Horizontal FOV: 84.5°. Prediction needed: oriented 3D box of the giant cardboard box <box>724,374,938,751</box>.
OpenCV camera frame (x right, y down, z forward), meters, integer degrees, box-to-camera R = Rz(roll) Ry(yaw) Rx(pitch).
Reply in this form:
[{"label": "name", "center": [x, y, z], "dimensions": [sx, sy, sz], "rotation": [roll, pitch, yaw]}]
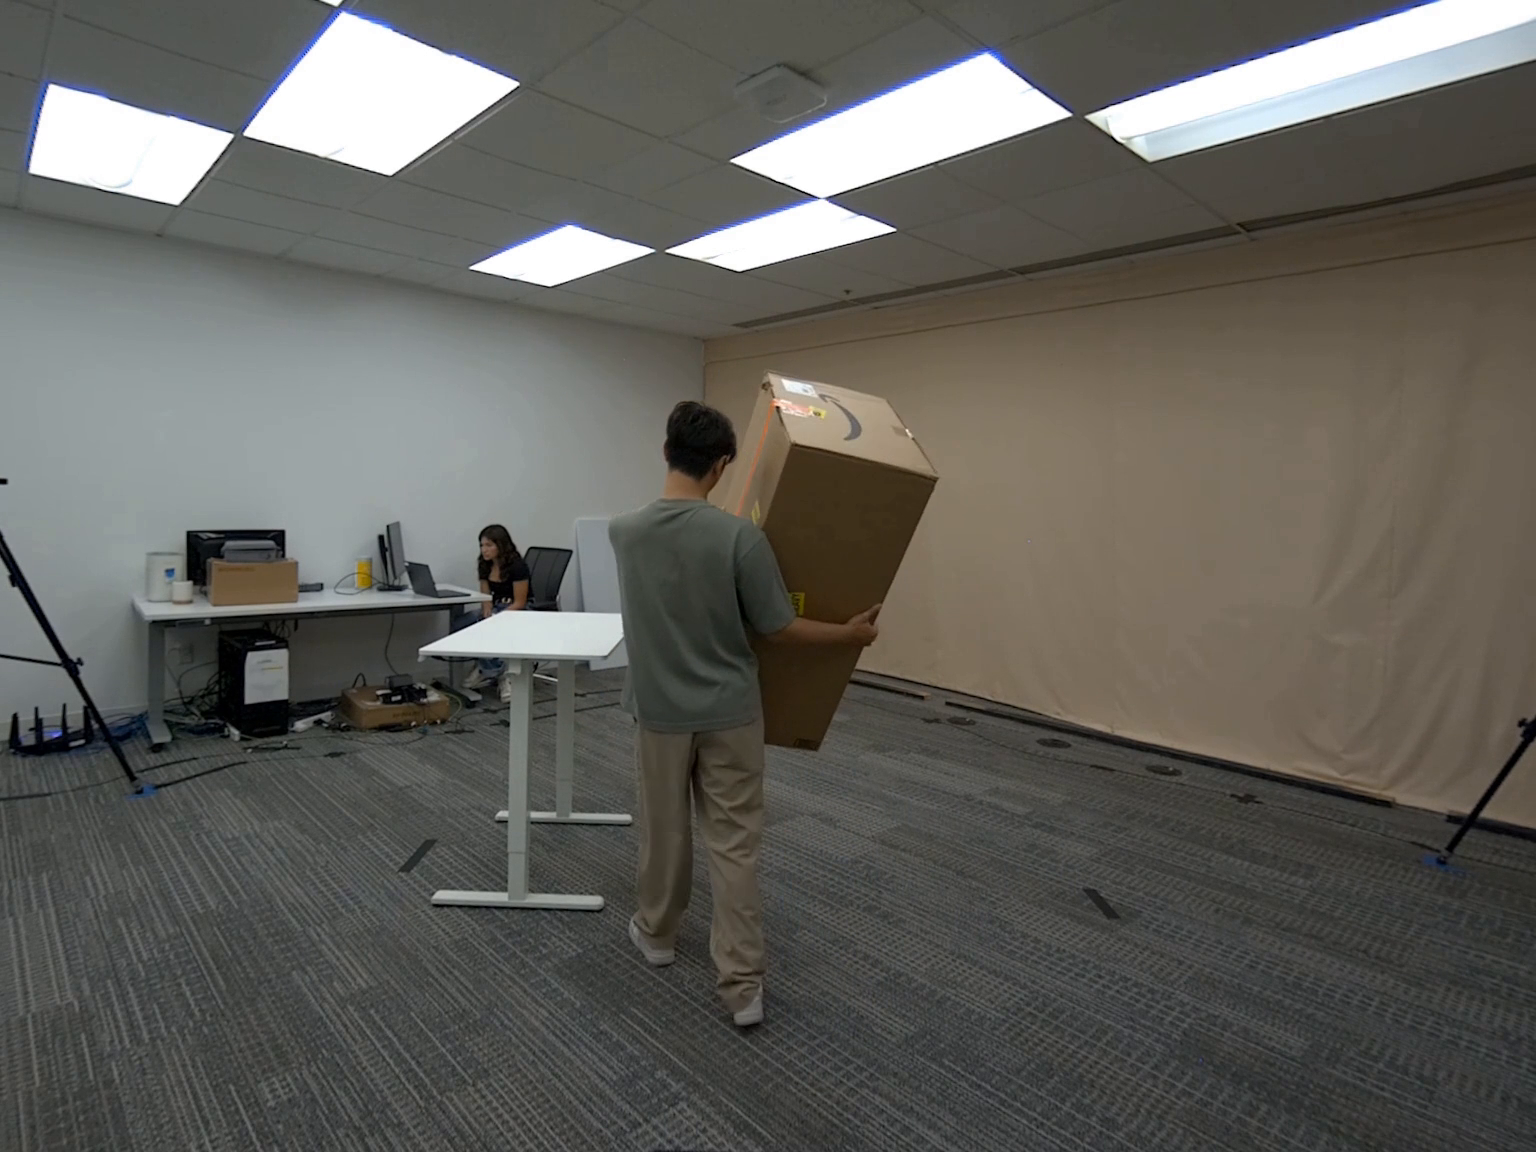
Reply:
[{"label": "giant cardboard box", "center": [0.069, -0.035, 2.680], "dimensions": [0.421, 1.014, 0.591], "rotation": [12, 29, -14]}]
